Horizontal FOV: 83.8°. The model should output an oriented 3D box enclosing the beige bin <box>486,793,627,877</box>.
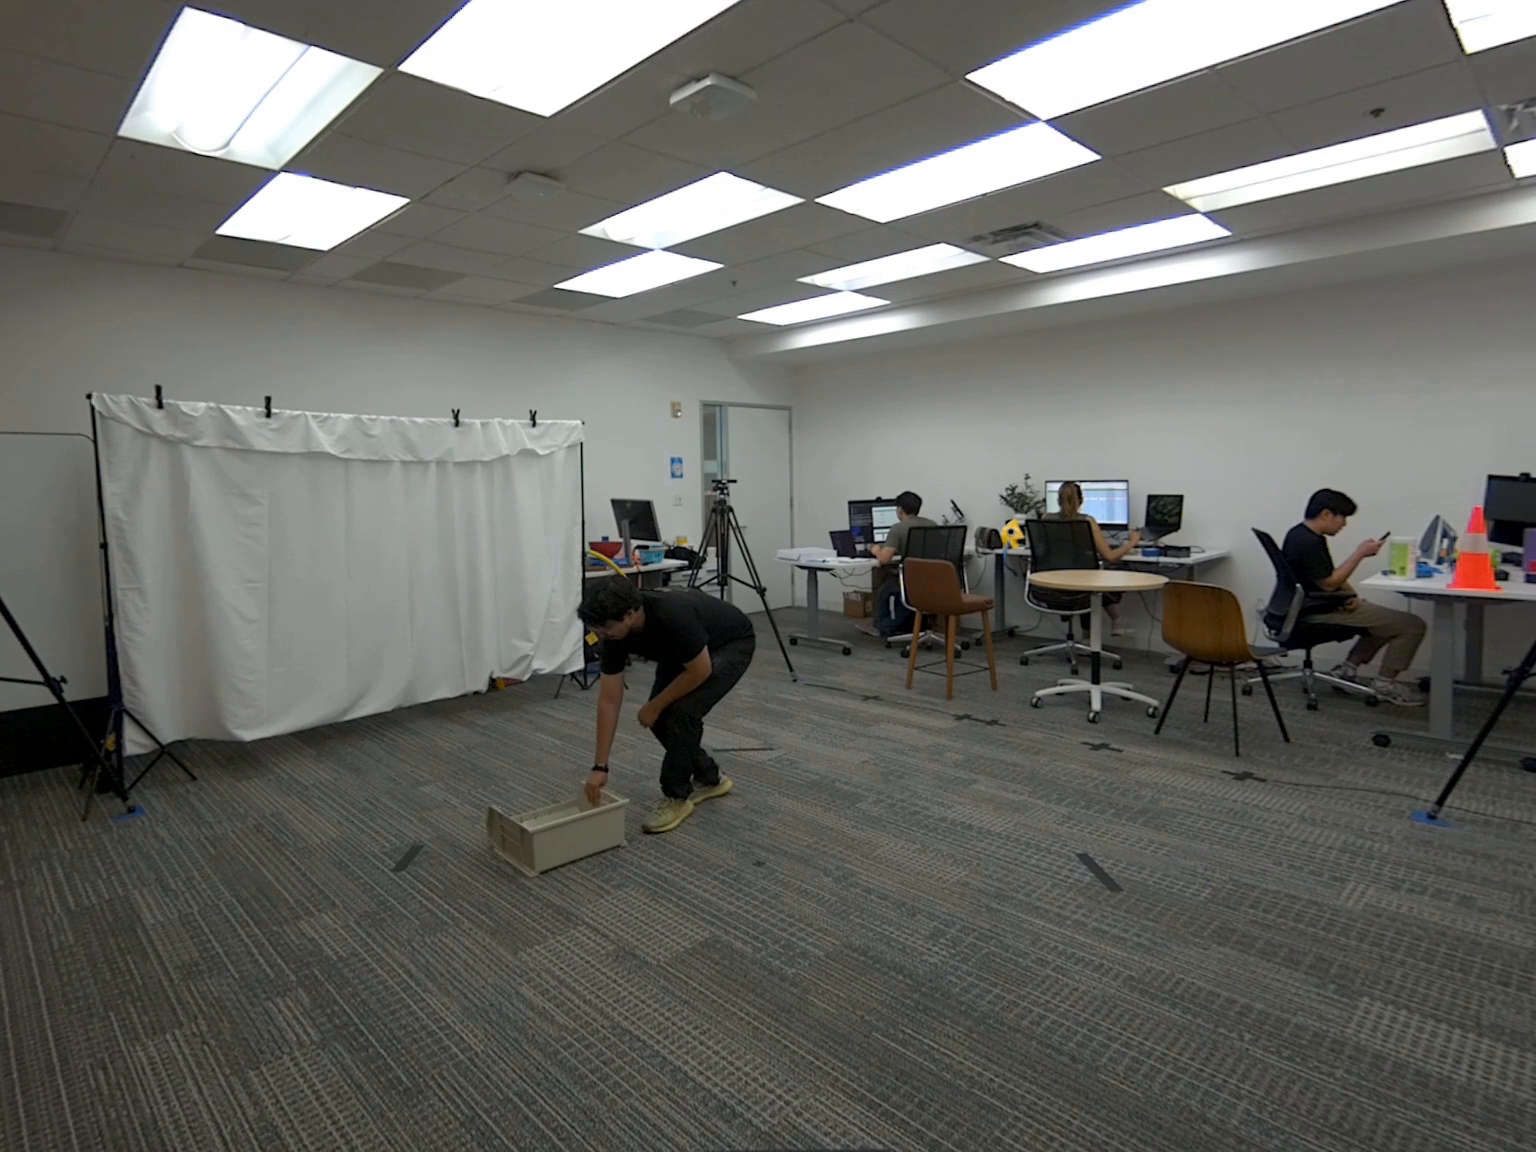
[{"bbox_3d":[-0.809,0.954,3.290,0.411,0.188,0.389,-5,8,-41],"label":"beige bin"}]
